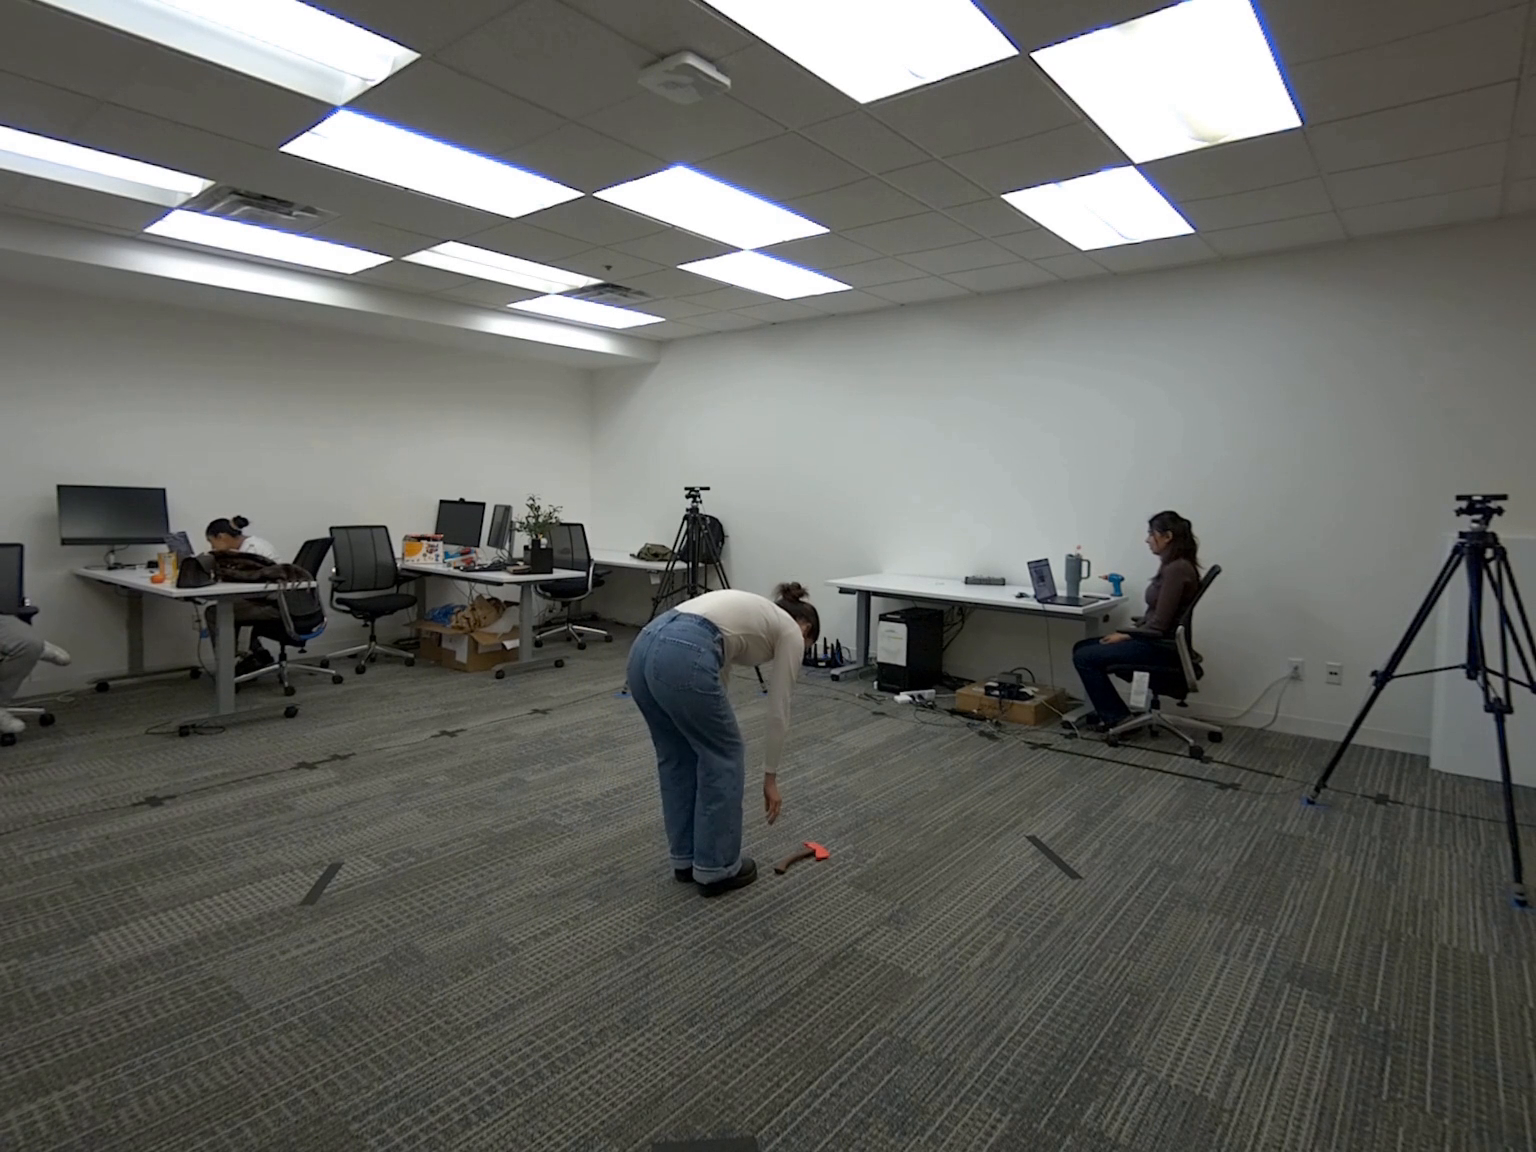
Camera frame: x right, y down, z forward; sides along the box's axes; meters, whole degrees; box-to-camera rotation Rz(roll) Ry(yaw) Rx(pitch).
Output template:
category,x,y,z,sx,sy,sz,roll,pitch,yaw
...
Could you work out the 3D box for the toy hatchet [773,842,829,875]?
category,x,y,z,sx,sy,sz,roll,pitch,yaw
toy hatchet,0.131,1.056,3.163,0.135,0.029,0.264,7,10,26
